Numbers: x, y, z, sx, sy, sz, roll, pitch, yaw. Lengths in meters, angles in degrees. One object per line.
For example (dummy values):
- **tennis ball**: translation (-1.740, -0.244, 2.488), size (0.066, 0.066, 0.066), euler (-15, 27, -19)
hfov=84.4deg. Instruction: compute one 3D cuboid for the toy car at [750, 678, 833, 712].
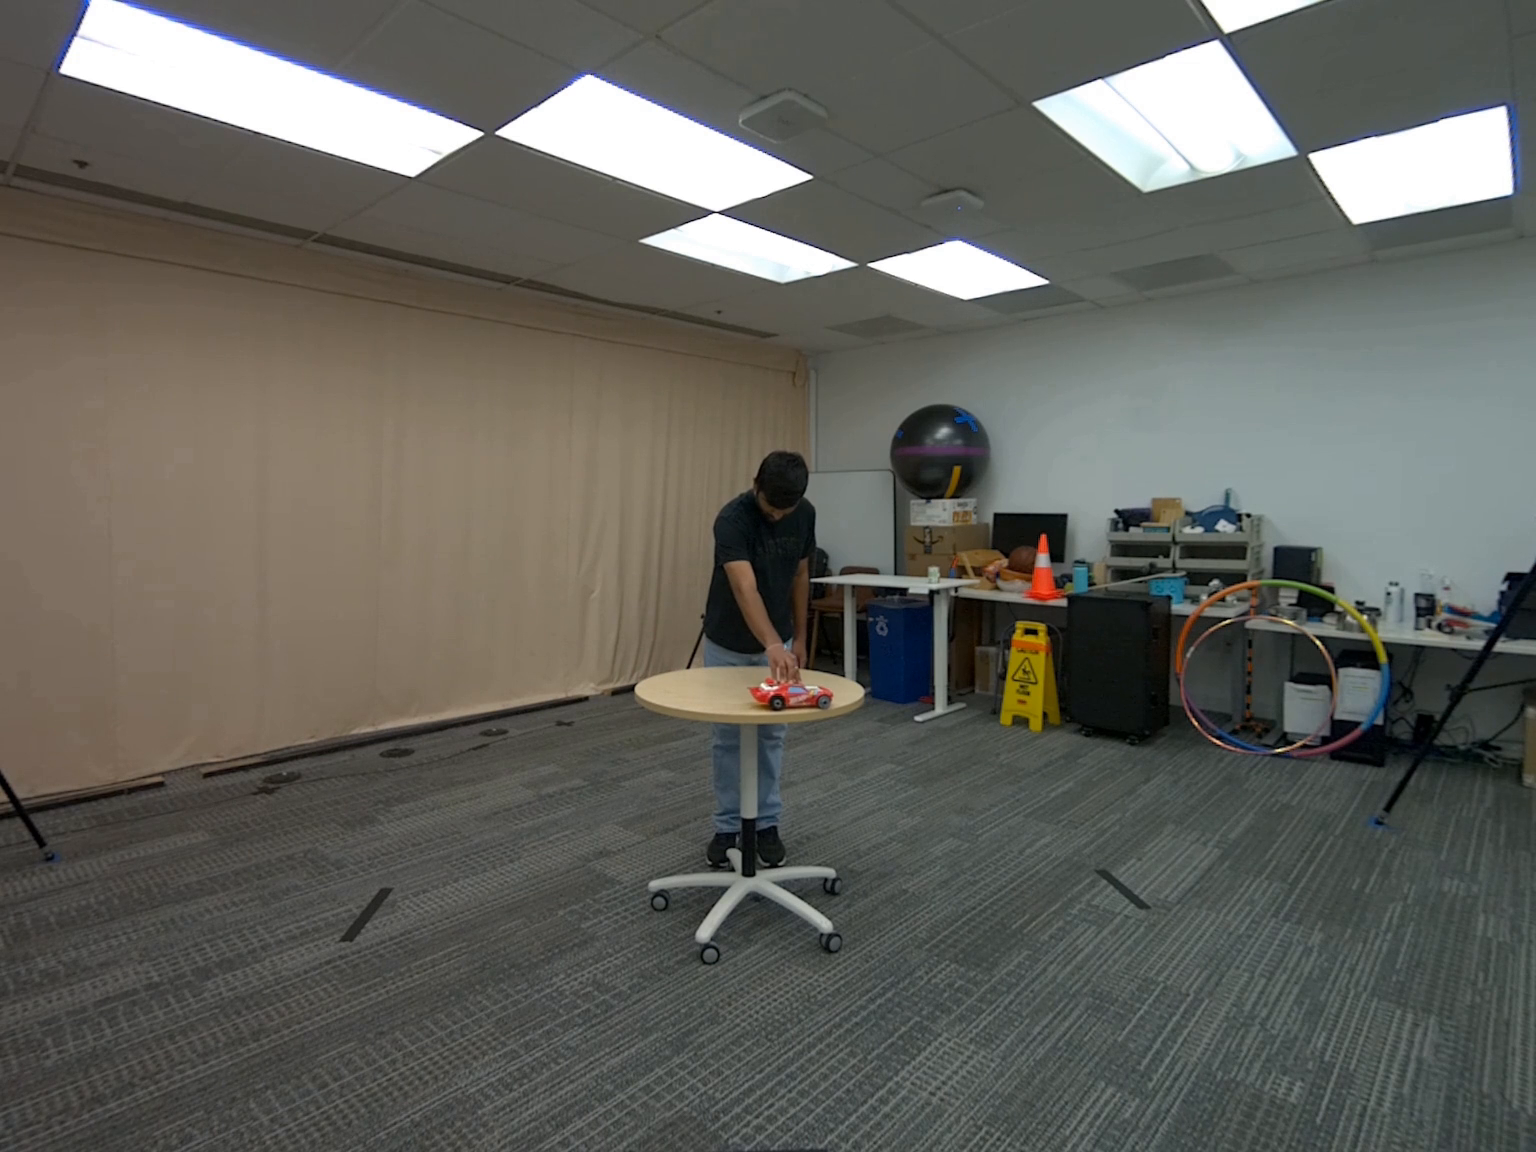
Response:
- **toy car**: translation (0.062, 0.365, 2.554), size (0.251, 0.083, 0.132), euler (11, 2, -12)
